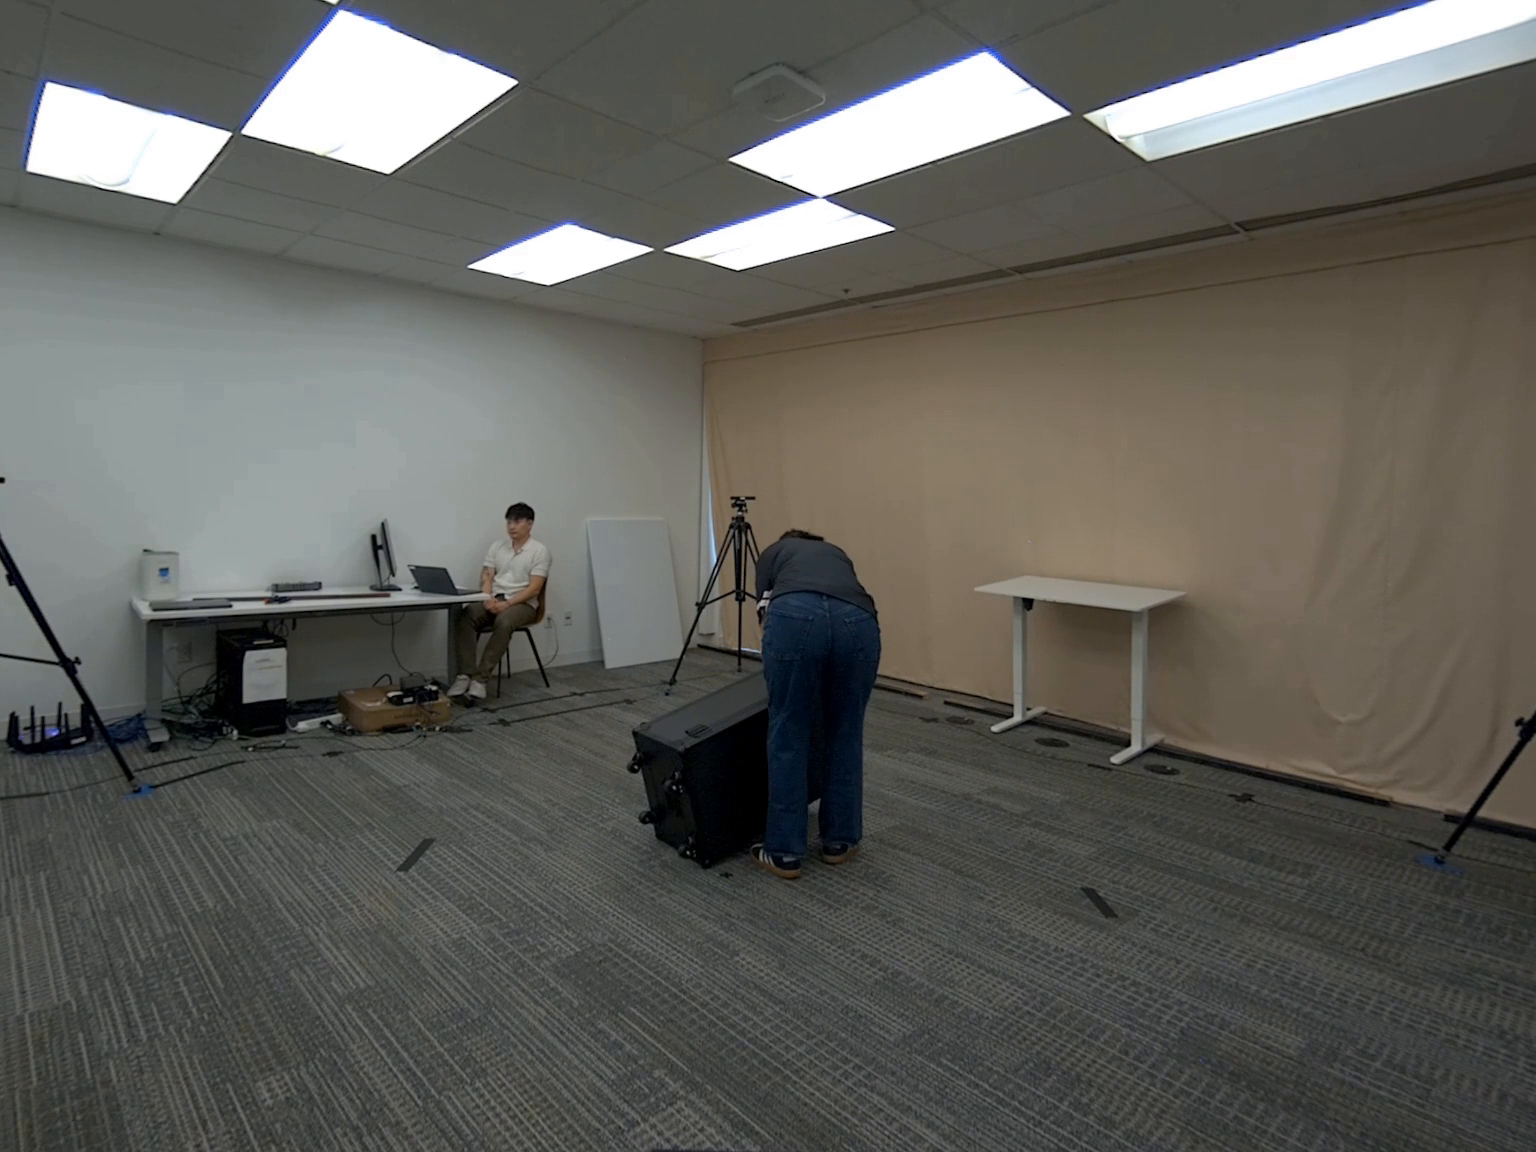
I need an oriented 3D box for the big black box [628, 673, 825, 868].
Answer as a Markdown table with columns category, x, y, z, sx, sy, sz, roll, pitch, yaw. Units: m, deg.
| category | x | y | z | sx | sy | sz | roll | pitch | yaw |
| --- | --- | --- | --- | --- | --- | --- | --- | --- | --- |
| big black box | -0.130 | 0.738 | 3.439 | 0.856 | 0.517 | 0.395 | -21 | 19 | -35 |
